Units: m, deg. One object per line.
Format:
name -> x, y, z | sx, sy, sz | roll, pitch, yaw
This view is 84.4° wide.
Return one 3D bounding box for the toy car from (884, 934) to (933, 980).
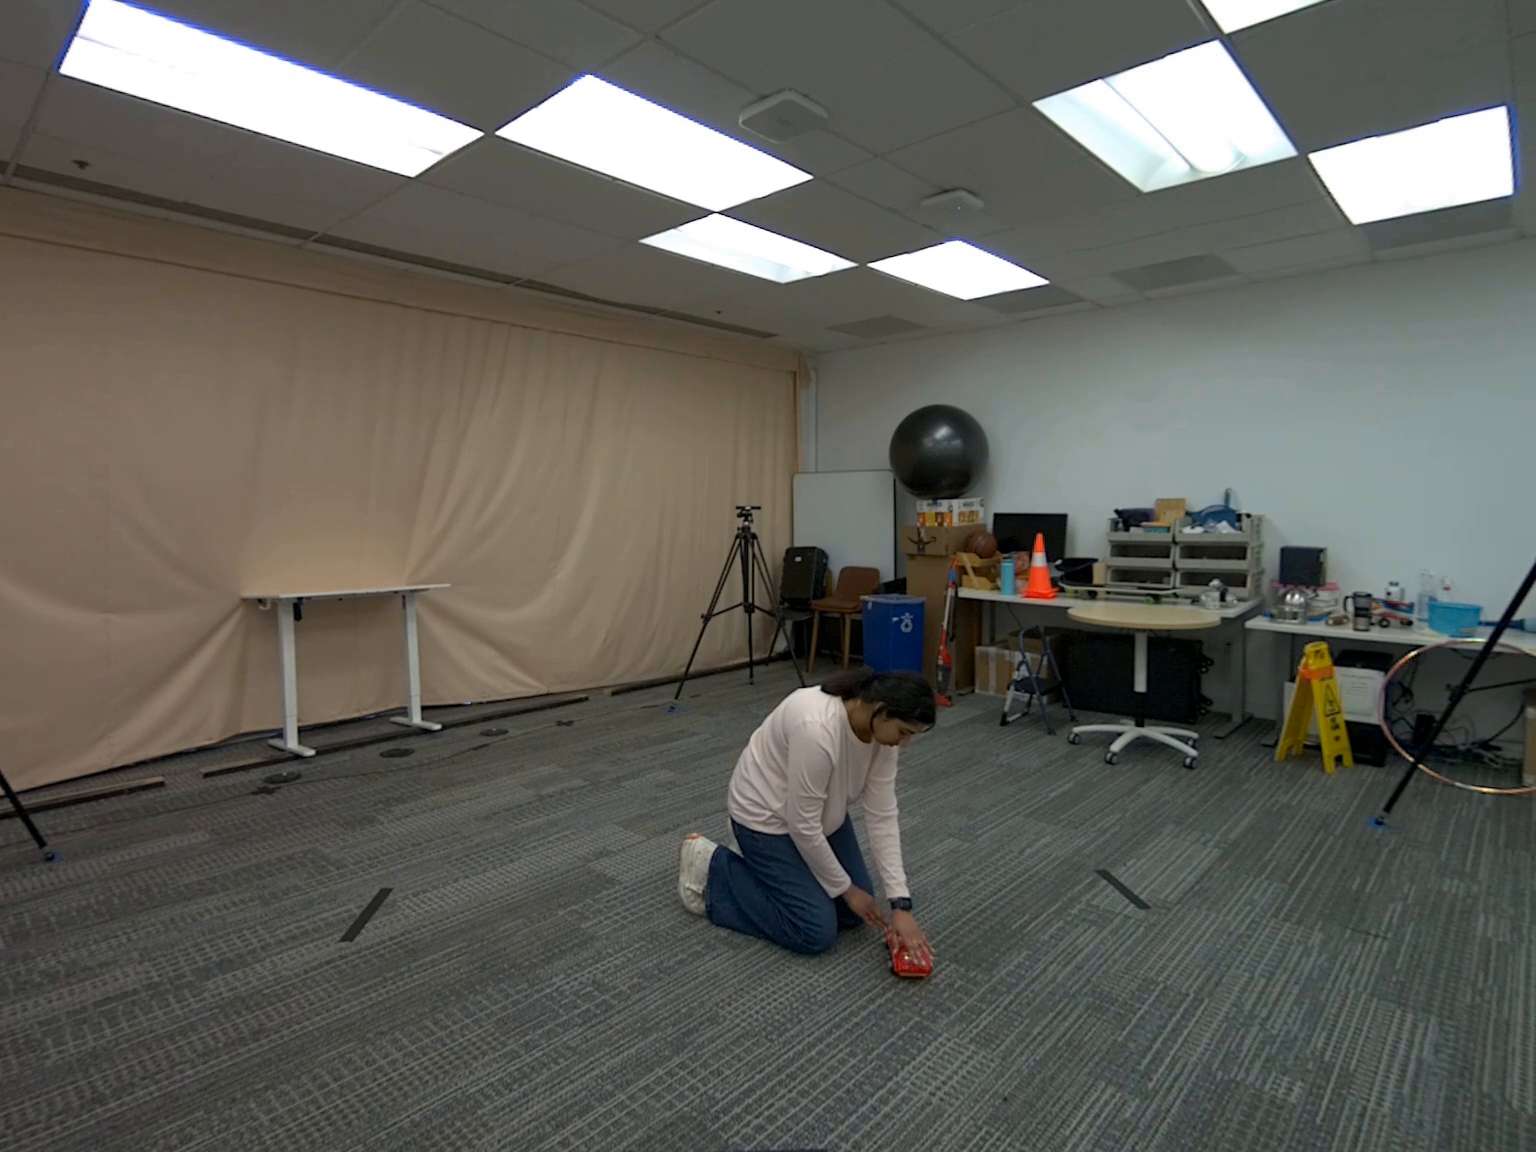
toy car -> 0.430, 1.148, 2.551 | 0.131, 0.083, 0.253 | 1, -5, 2
